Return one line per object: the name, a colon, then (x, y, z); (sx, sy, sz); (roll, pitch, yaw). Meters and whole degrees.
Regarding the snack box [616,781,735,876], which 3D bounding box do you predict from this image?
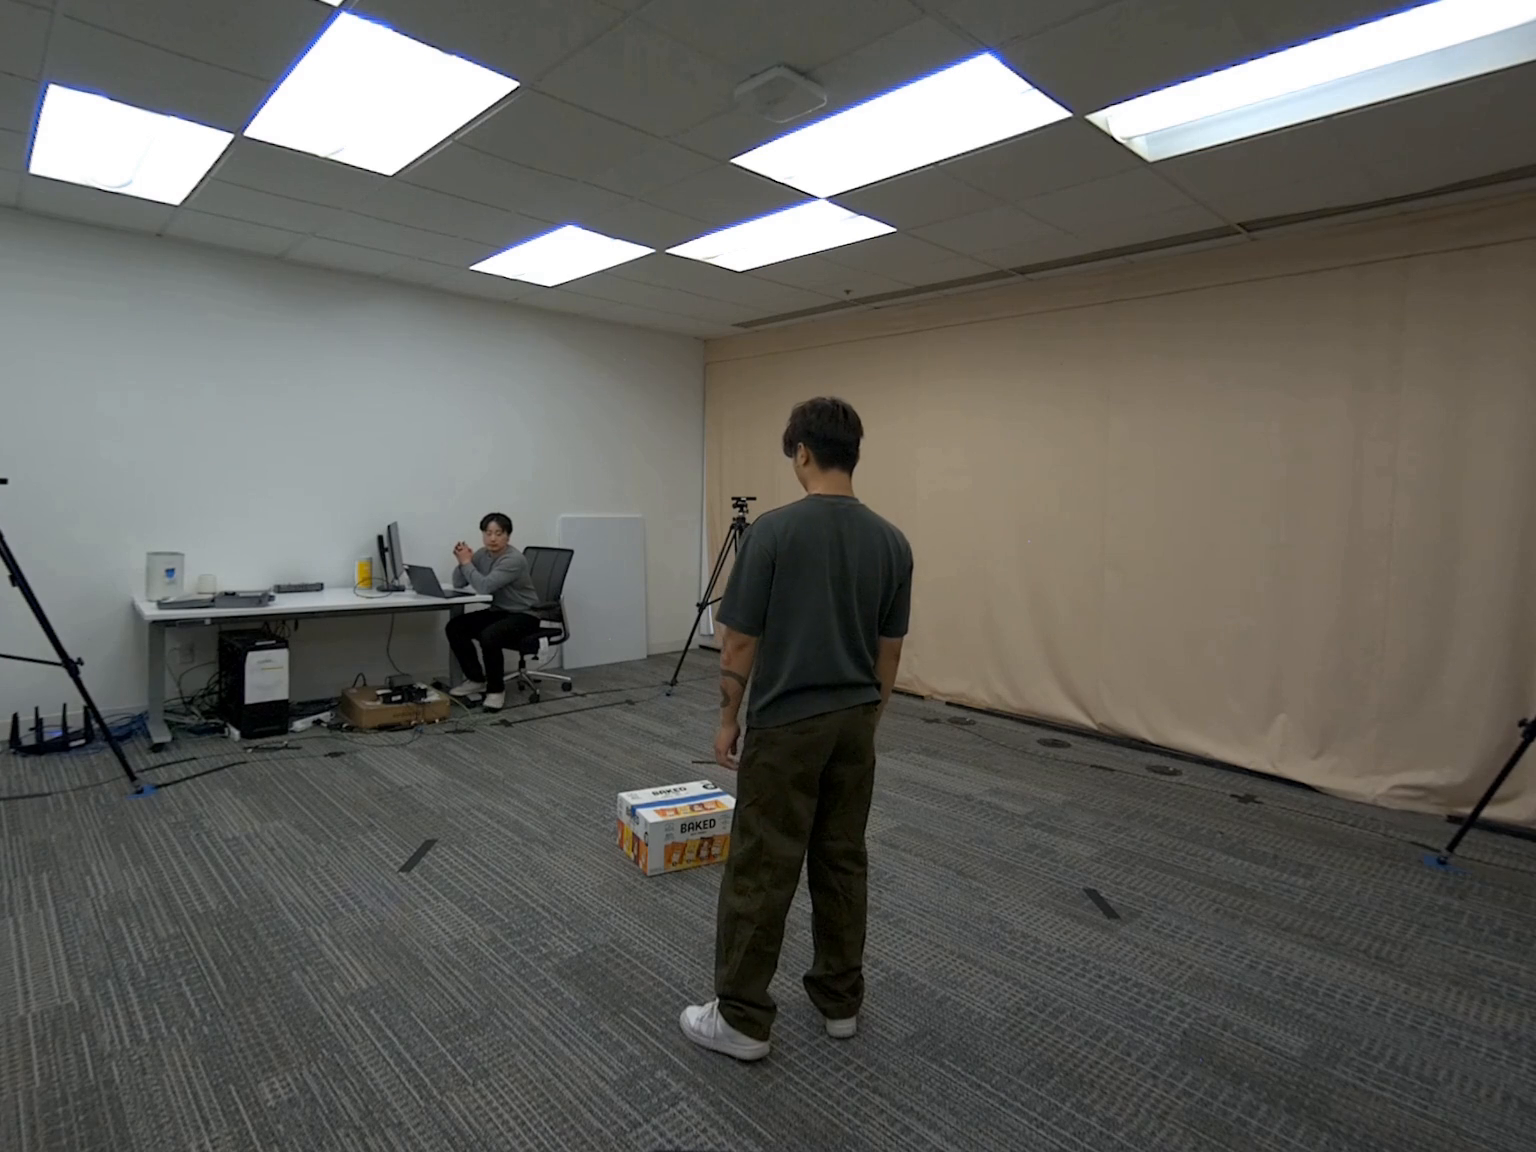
snack box: (-0.350, 0.977, 3.314); (0.397, 0.205, 0.348); (-1, 5, -29)
